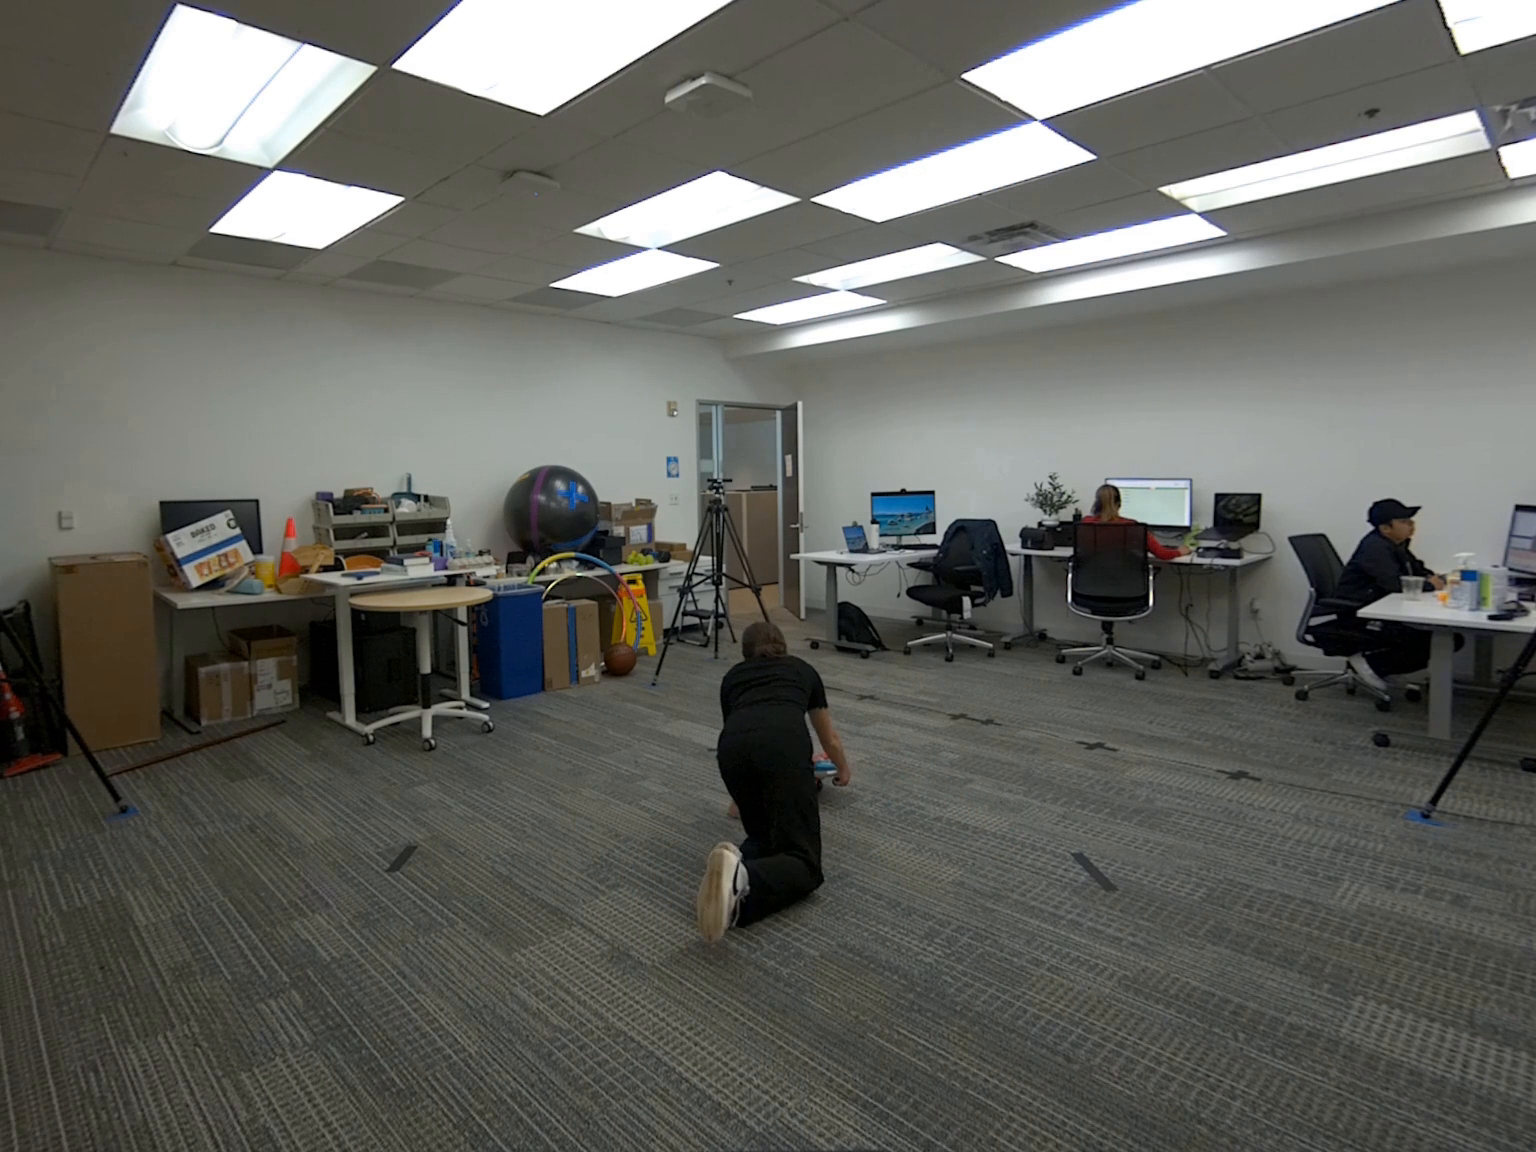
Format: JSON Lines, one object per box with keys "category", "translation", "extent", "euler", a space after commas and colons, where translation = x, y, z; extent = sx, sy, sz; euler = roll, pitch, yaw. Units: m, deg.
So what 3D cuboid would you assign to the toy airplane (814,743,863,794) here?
{"category": "toy airplane", "translation": [0.239, 0.861, 3.765], "extent": [0.261, 0.159, 0.244], "euler": [-24, -16, 15]}
